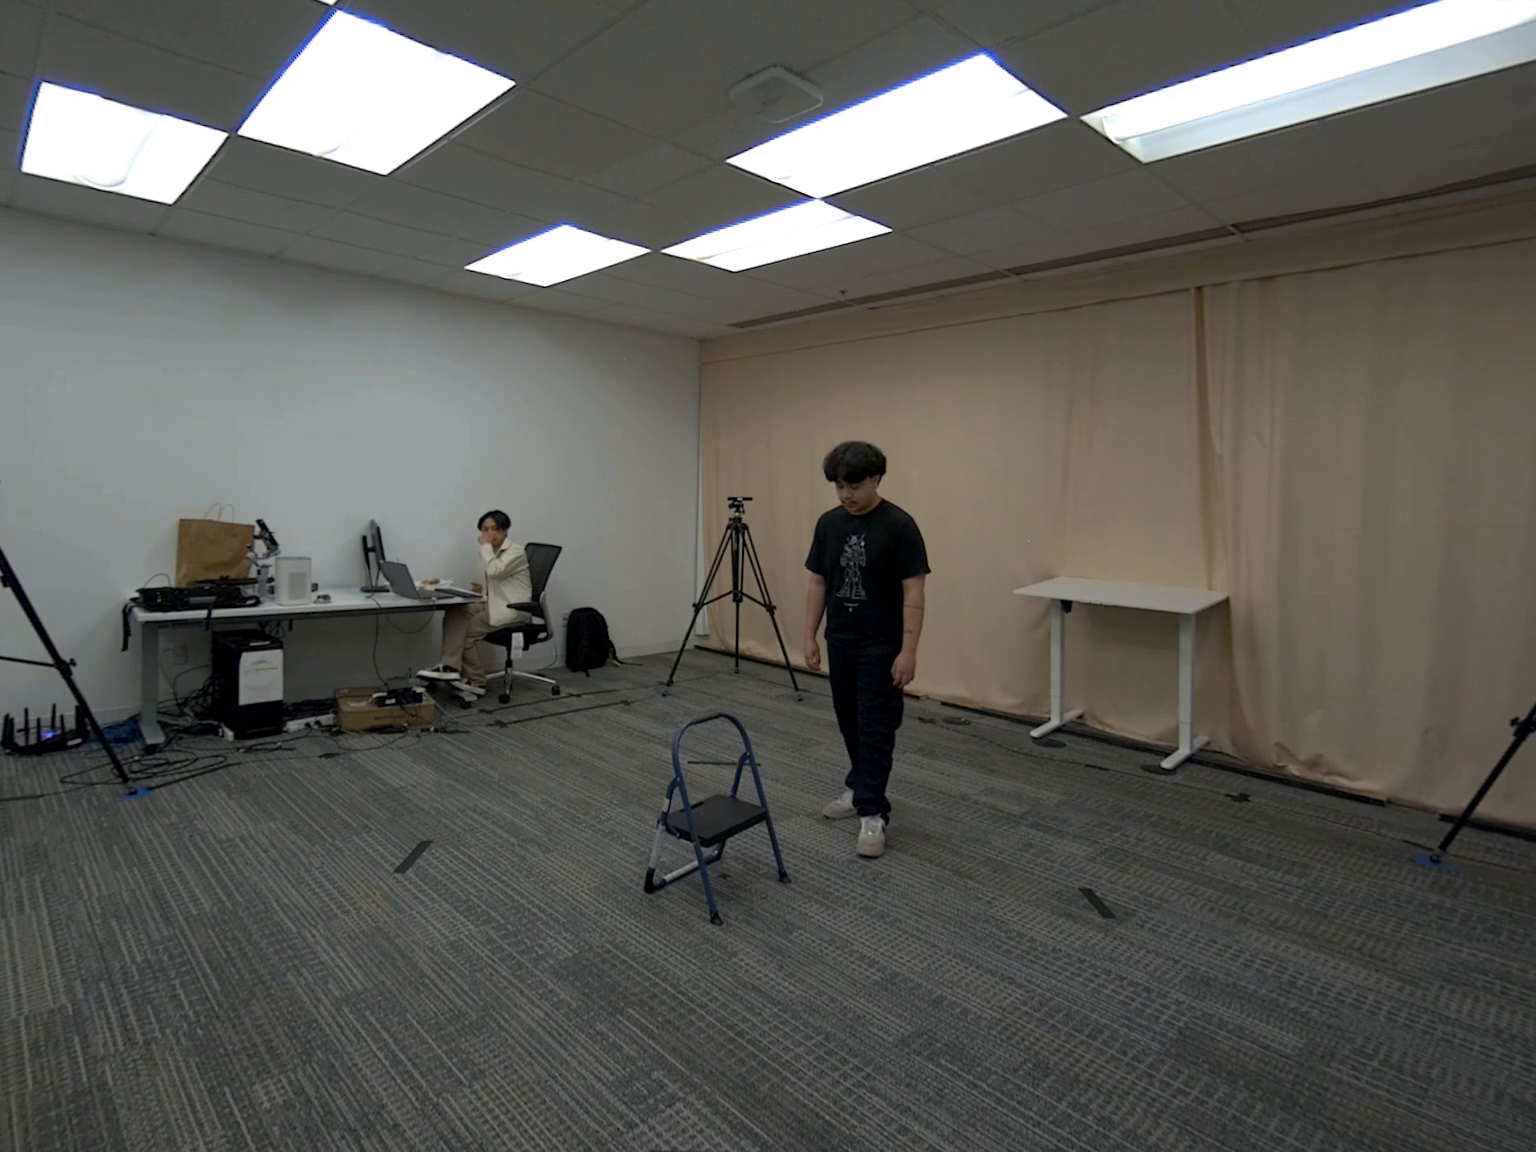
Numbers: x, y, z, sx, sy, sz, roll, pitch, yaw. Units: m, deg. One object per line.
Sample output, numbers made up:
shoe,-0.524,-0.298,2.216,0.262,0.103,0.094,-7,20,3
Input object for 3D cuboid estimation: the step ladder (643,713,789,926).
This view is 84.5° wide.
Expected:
step ladder,-0.176,0.813,2.996,0.358,0.604,0.421,5,5,36
